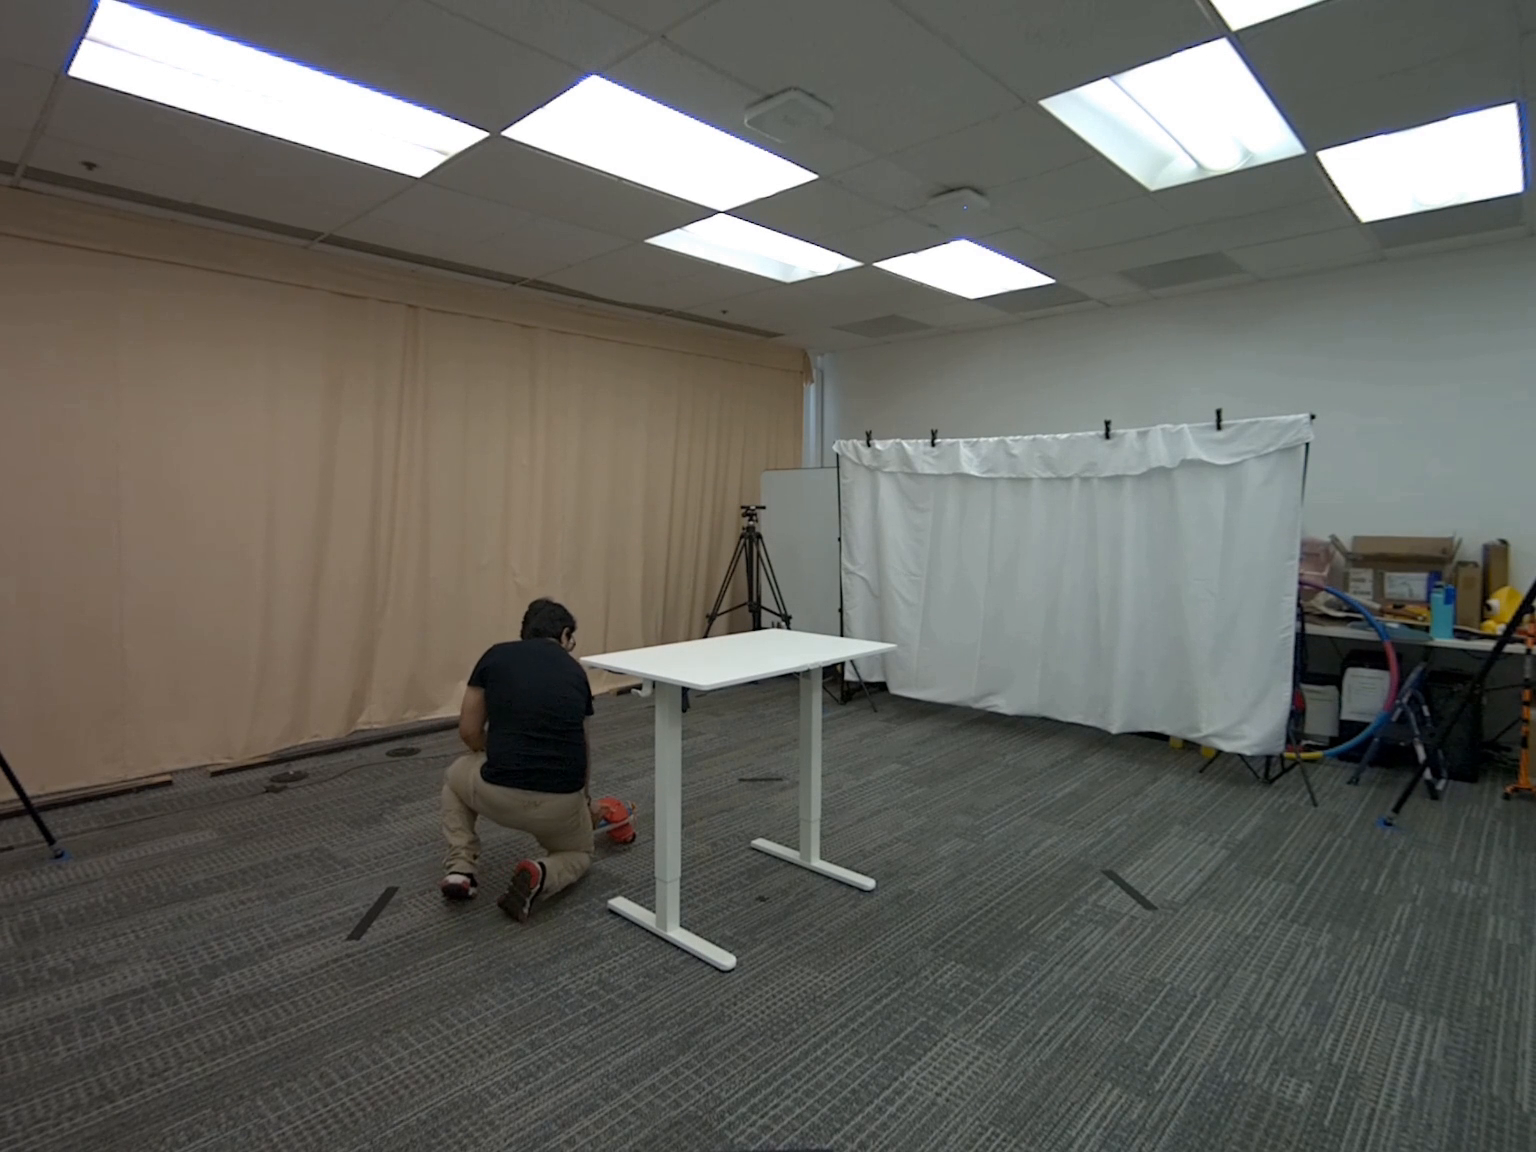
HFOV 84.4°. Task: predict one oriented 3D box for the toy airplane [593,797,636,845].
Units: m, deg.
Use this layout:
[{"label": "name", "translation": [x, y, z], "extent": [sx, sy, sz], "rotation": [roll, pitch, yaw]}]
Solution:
[{"label": "toy airplane", "translation": [-0.665, 1.033, 3.478], "extent": [0.259, 0.156, 0.252], "rotation": [3, 6, 35]}]
